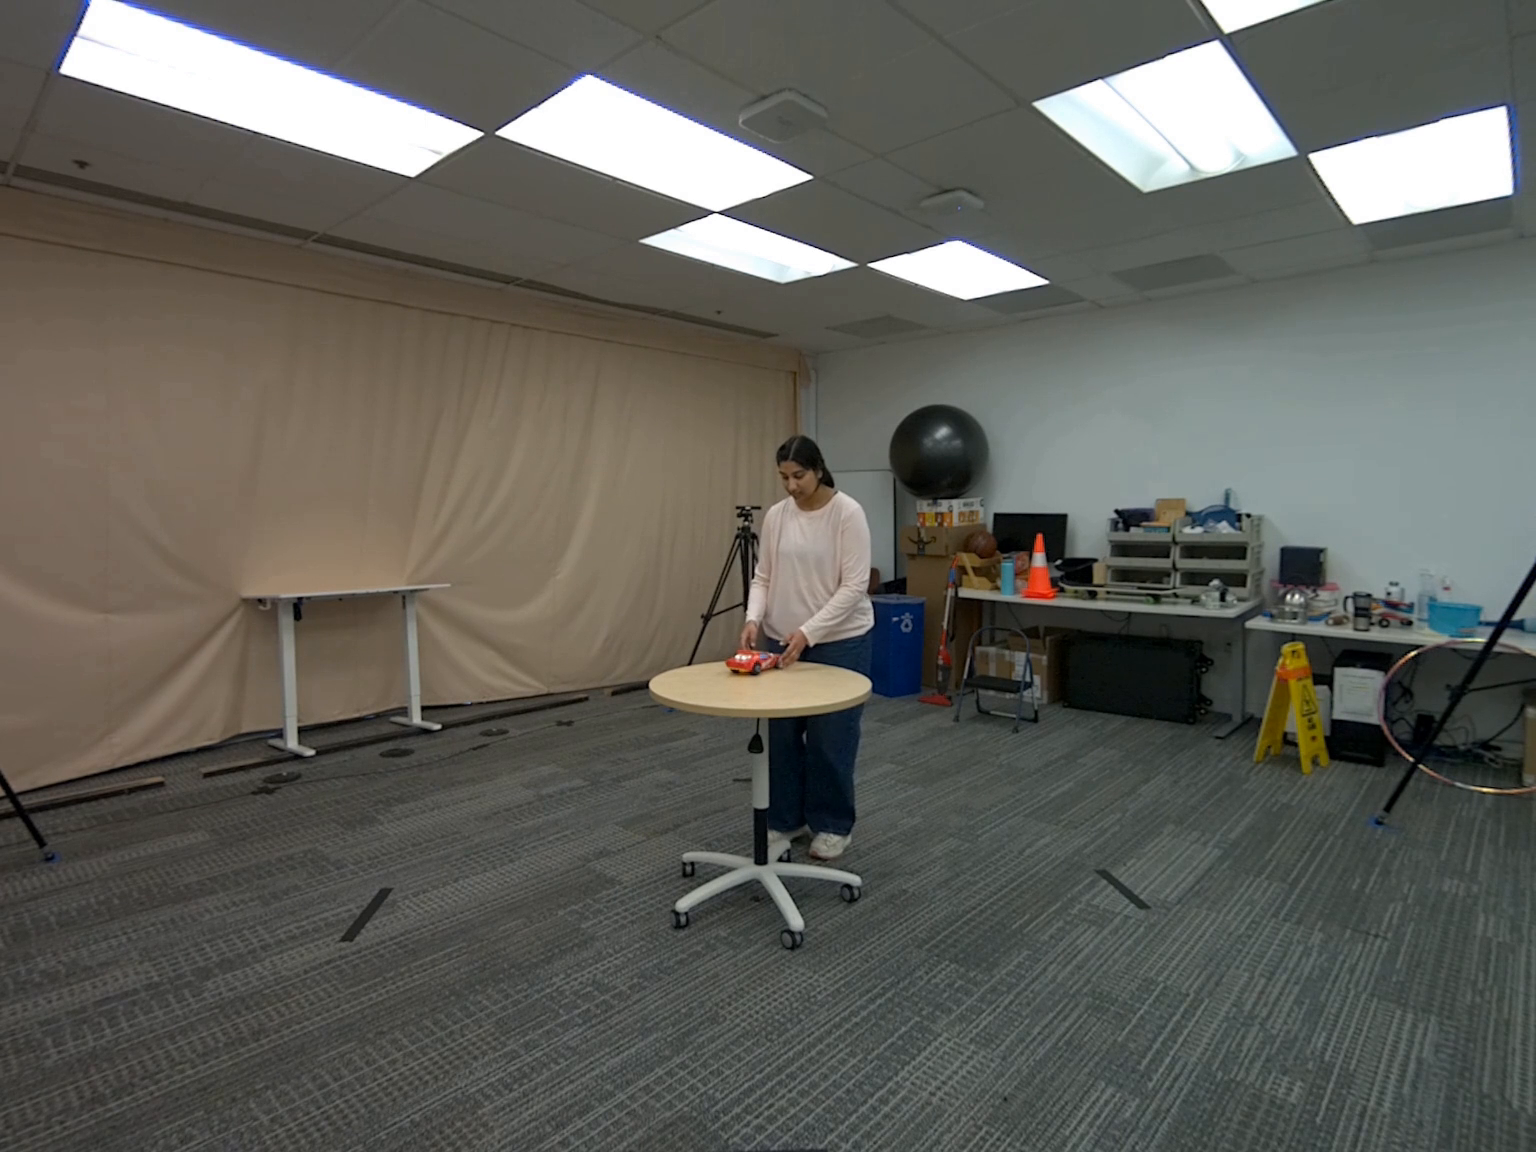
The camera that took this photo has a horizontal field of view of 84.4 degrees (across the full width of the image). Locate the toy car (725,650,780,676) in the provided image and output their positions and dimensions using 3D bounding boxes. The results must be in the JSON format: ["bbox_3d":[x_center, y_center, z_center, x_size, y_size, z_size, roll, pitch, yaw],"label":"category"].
[{"bbox_3d":[-0.053,0.321,3.086,0.134,0.083,0.246,3,-6,37],"label":"toy car"}]
